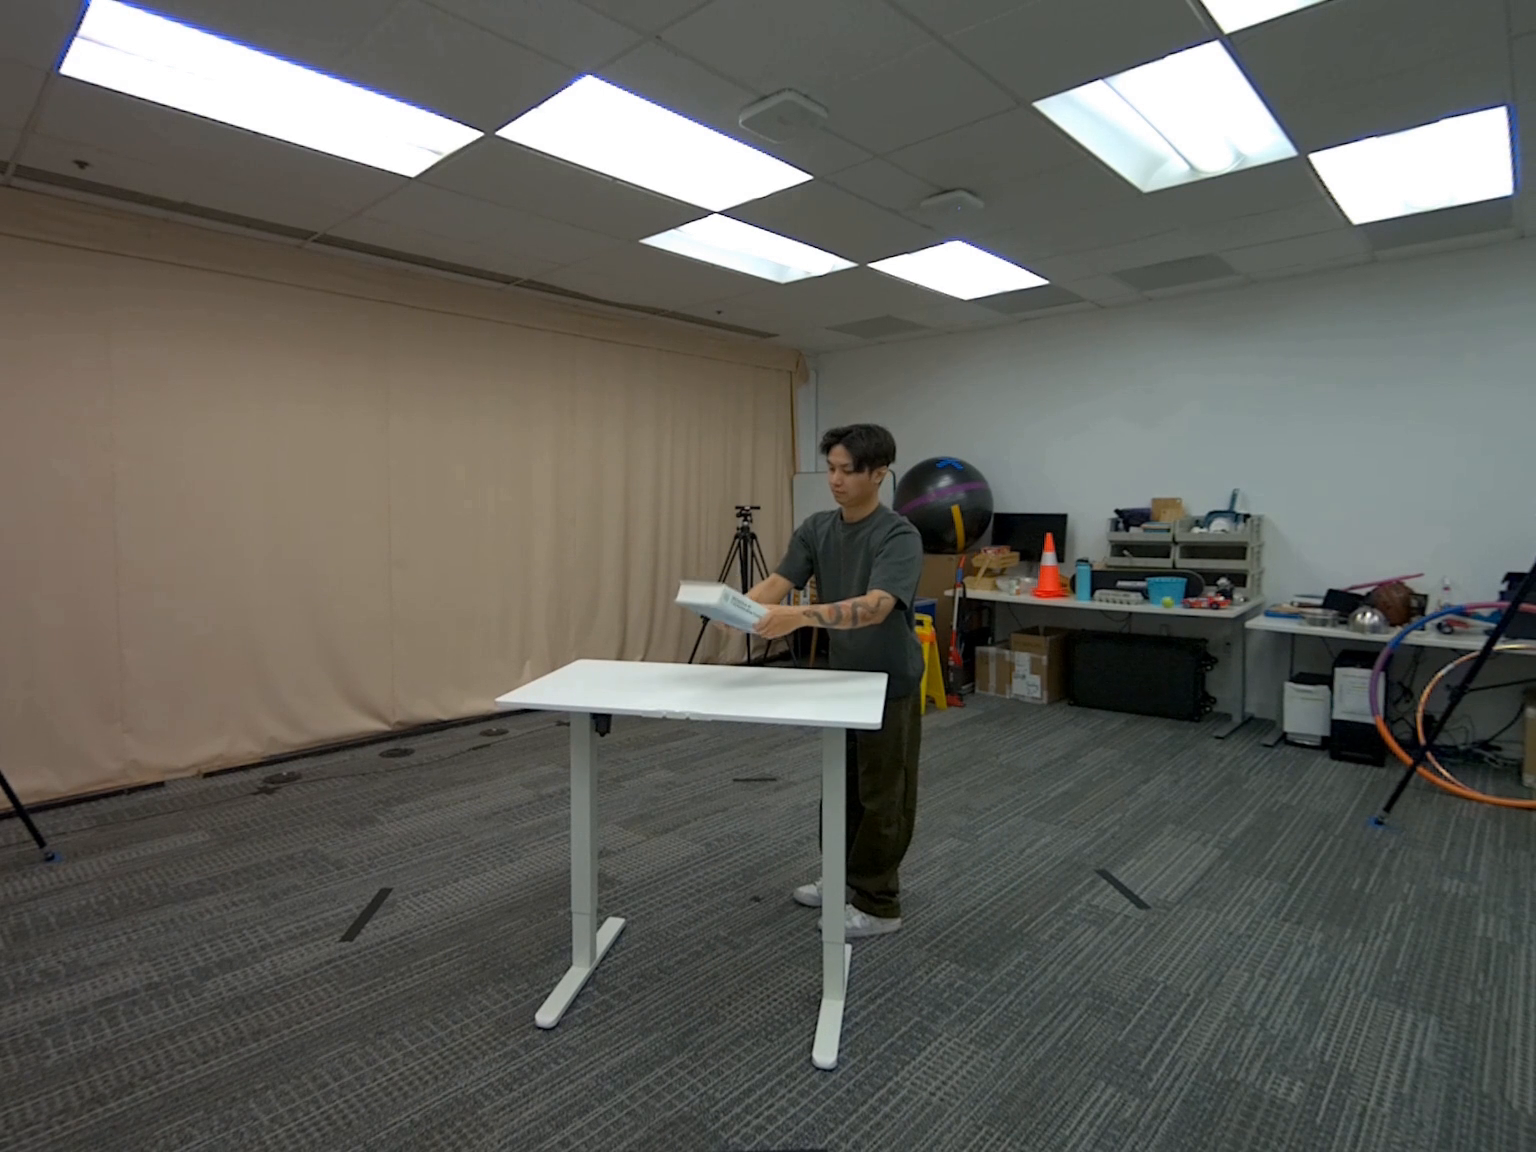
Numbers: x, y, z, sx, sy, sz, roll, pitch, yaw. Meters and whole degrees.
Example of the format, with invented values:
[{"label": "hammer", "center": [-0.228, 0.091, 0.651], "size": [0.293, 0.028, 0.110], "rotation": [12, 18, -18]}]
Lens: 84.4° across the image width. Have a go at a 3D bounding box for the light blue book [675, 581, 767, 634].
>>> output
[{"label": "light blue book", "center": [-0.096, 0.088, 2.377], "size": [0.198, 0.059, 0.251], "rotation": [3, -21, 45]}]
